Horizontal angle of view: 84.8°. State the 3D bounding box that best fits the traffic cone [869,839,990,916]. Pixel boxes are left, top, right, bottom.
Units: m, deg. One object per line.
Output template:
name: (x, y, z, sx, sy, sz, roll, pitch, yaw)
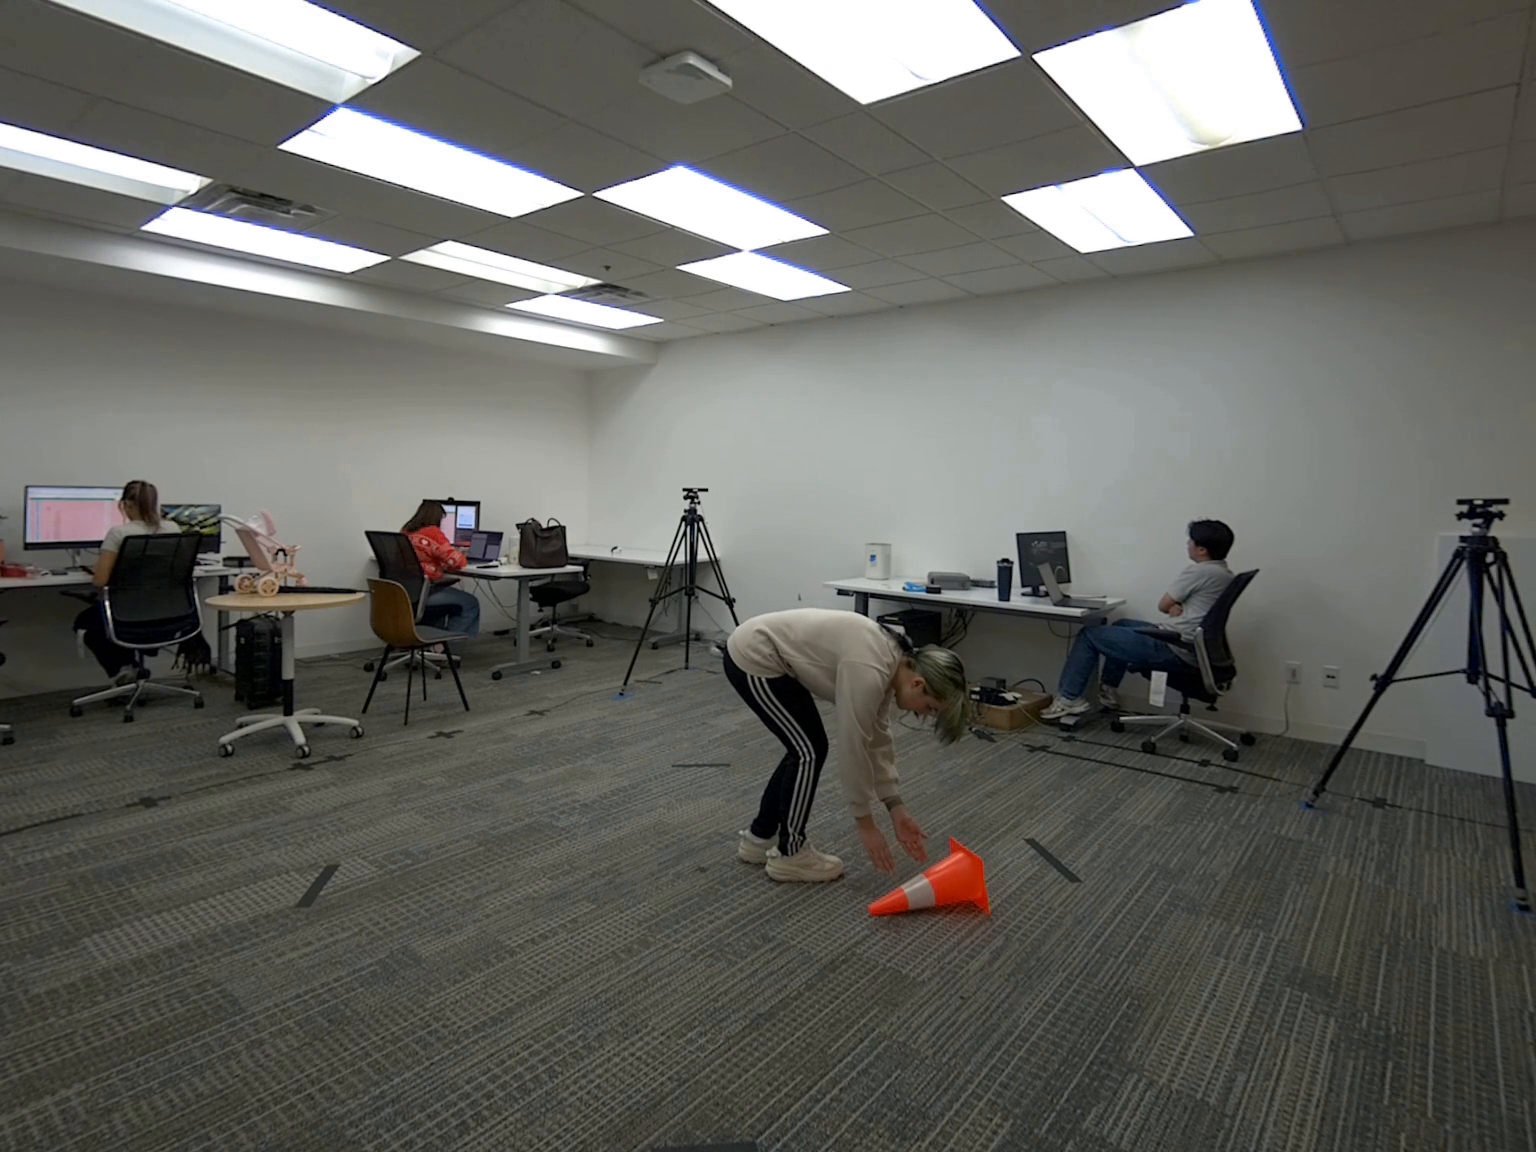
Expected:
traffic cone: (0.502, 1.059, 2.846, 0.379, 0.201, 0.210, -14, 12, -15)
